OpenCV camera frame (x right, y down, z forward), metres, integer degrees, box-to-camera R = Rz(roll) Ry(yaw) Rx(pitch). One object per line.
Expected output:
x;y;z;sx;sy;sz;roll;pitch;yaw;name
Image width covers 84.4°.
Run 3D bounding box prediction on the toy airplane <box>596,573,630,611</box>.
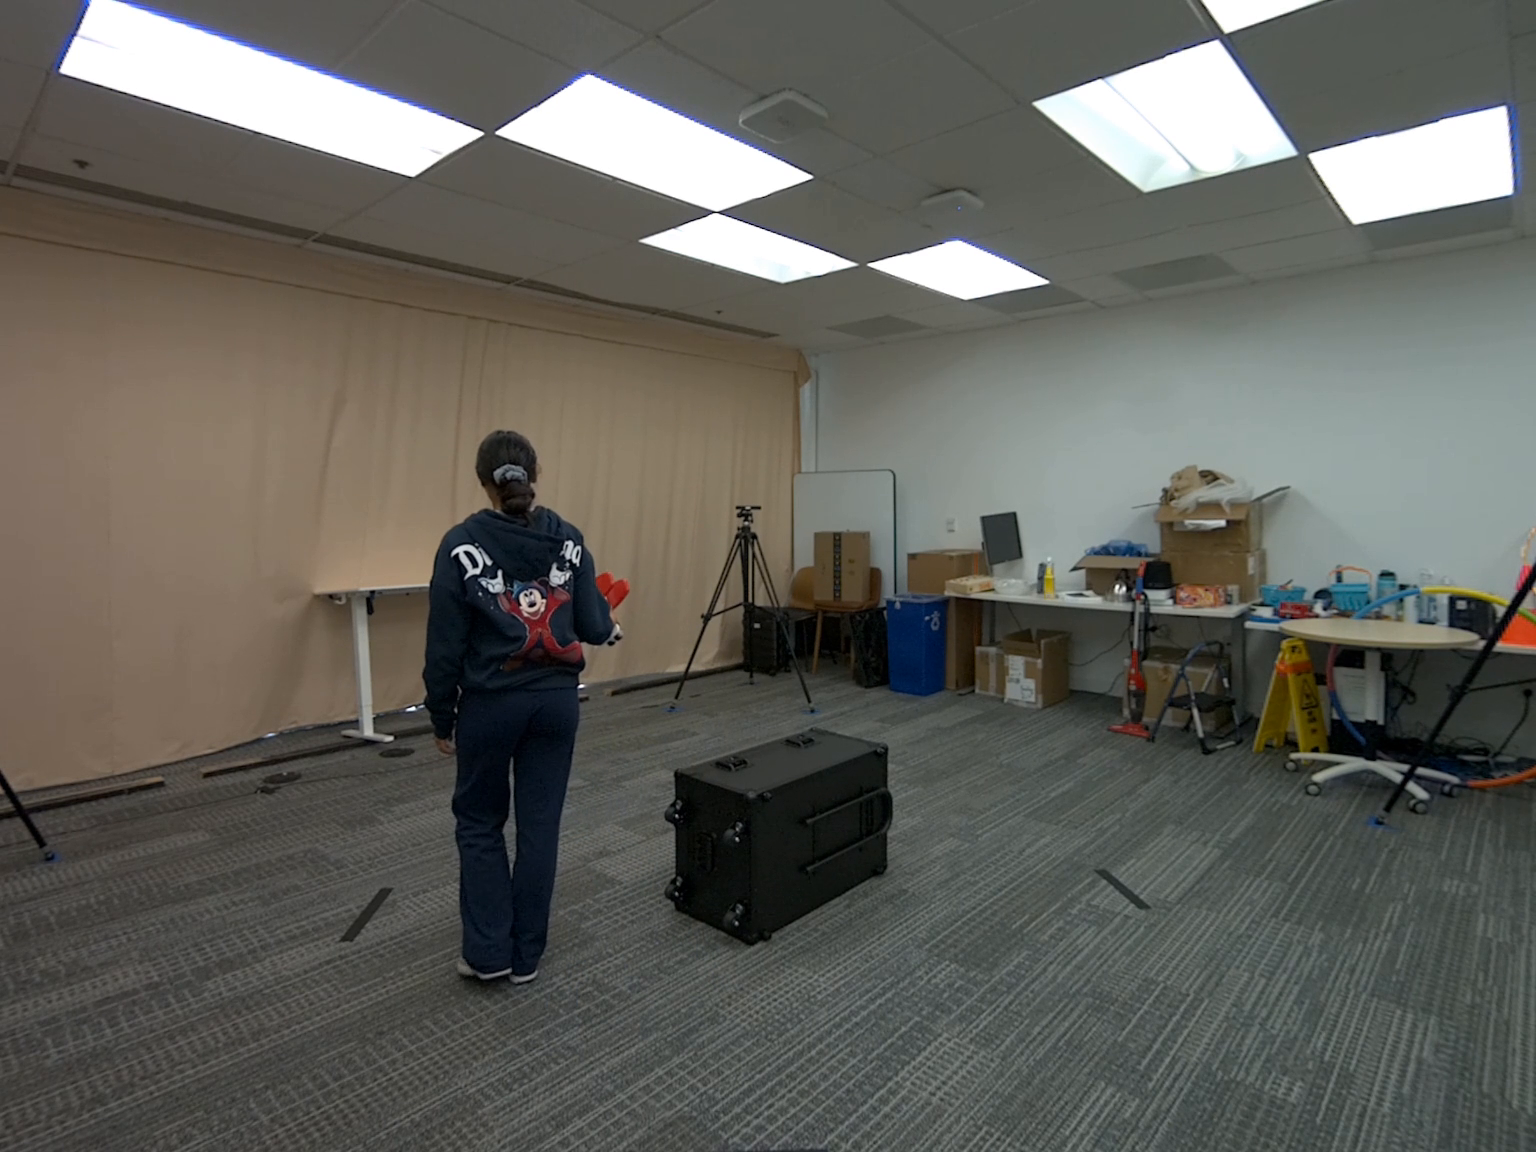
-0.557;0.116;2.929;0.151;0.251;0.268;36;-3;-36;toy airplane
